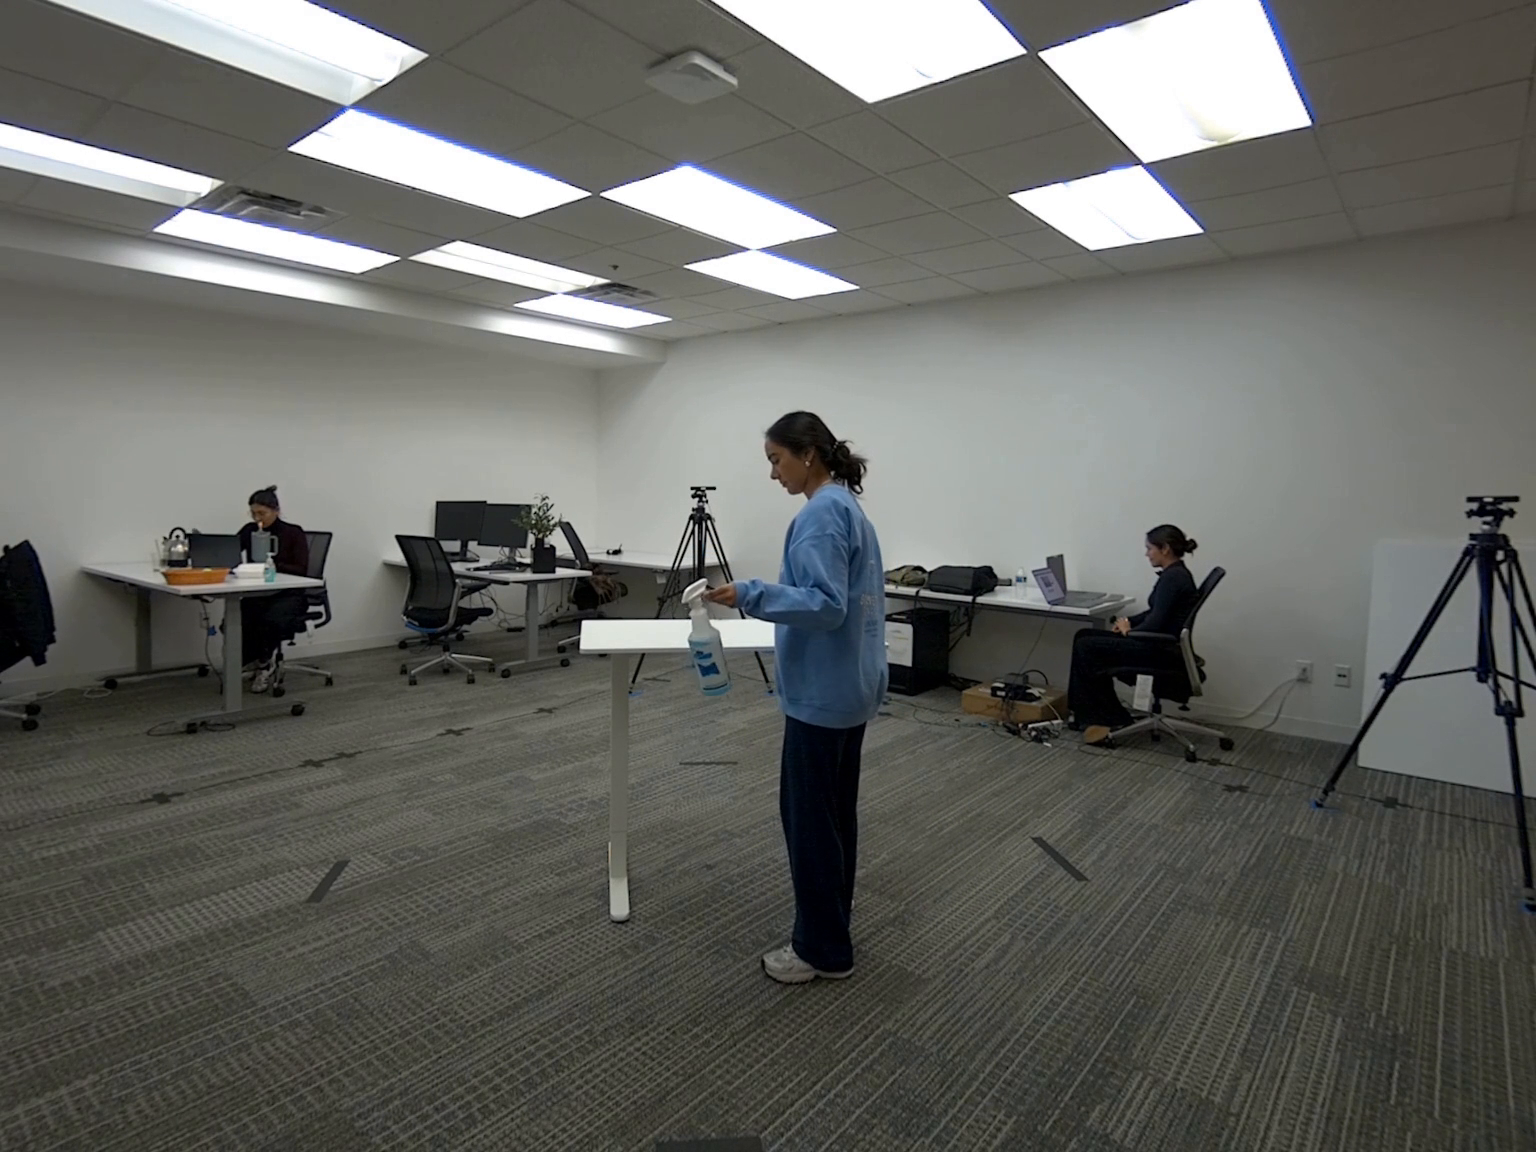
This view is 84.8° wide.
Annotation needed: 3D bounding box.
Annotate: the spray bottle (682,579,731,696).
[{"bbox_3d":[-0.172,0.163,2.223,0.089,0.294,0.089,-16,11,-16],"label":"spray bottle"}]
